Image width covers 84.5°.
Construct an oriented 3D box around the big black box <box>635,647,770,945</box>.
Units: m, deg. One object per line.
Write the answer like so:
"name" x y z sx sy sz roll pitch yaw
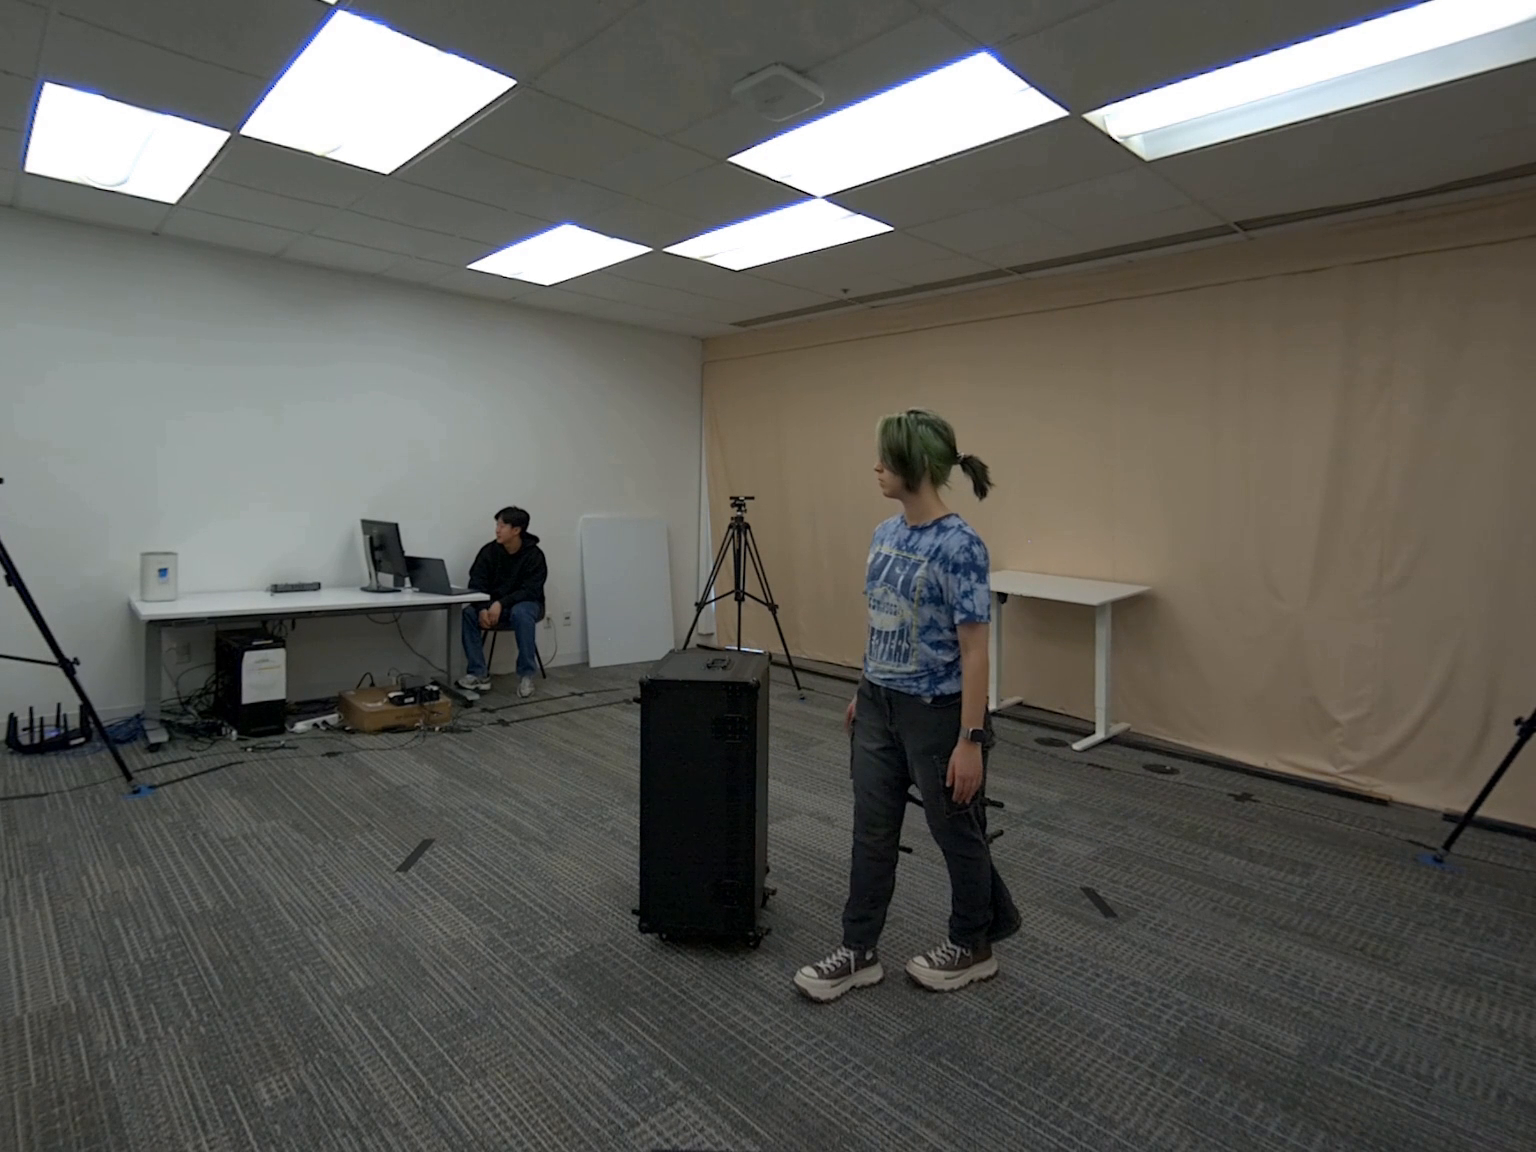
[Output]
"big black box" -0.201 0.712 2.738 0.398 0.860 0.520 0 3 6
